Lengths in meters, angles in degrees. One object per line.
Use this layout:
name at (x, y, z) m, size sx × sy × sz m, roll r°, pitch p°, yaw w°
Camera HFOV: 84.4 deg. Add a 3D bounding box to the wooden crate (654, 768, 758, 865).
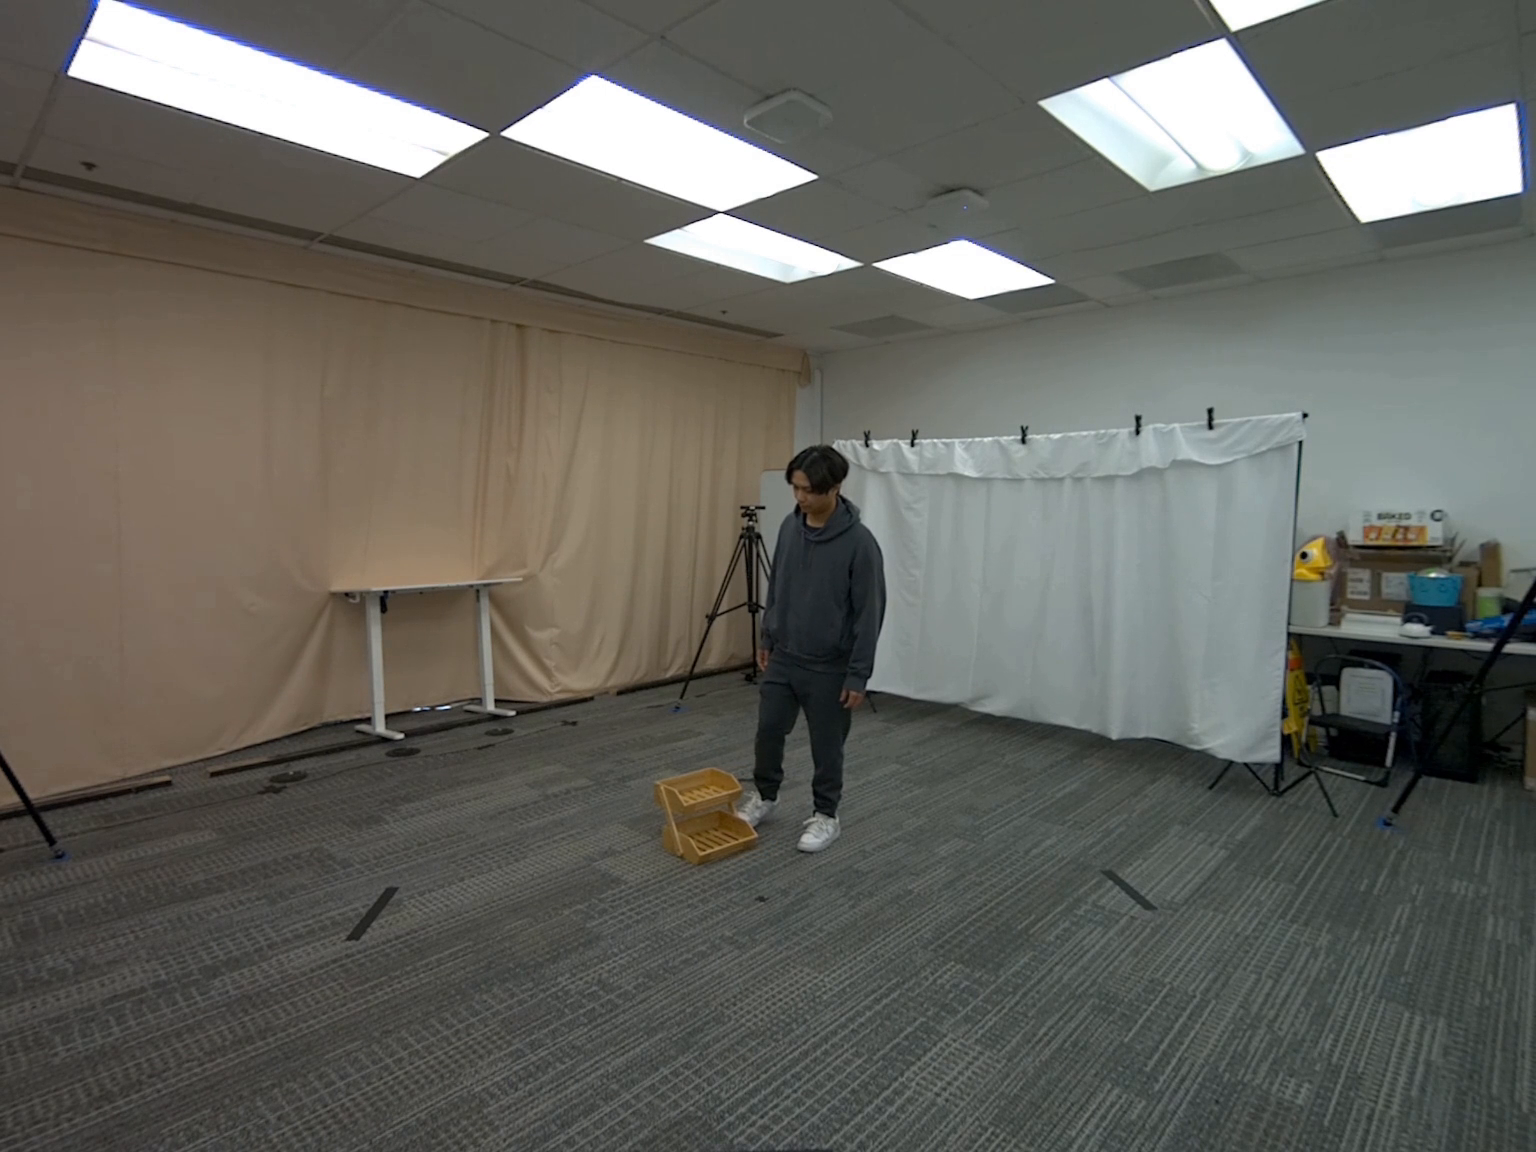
wooden crate at (-0.251, 0.972, 3.448) m, size 0.314 × 0.273 × 0.312 m, roll -4°, pitch 4°, yaw -41°
